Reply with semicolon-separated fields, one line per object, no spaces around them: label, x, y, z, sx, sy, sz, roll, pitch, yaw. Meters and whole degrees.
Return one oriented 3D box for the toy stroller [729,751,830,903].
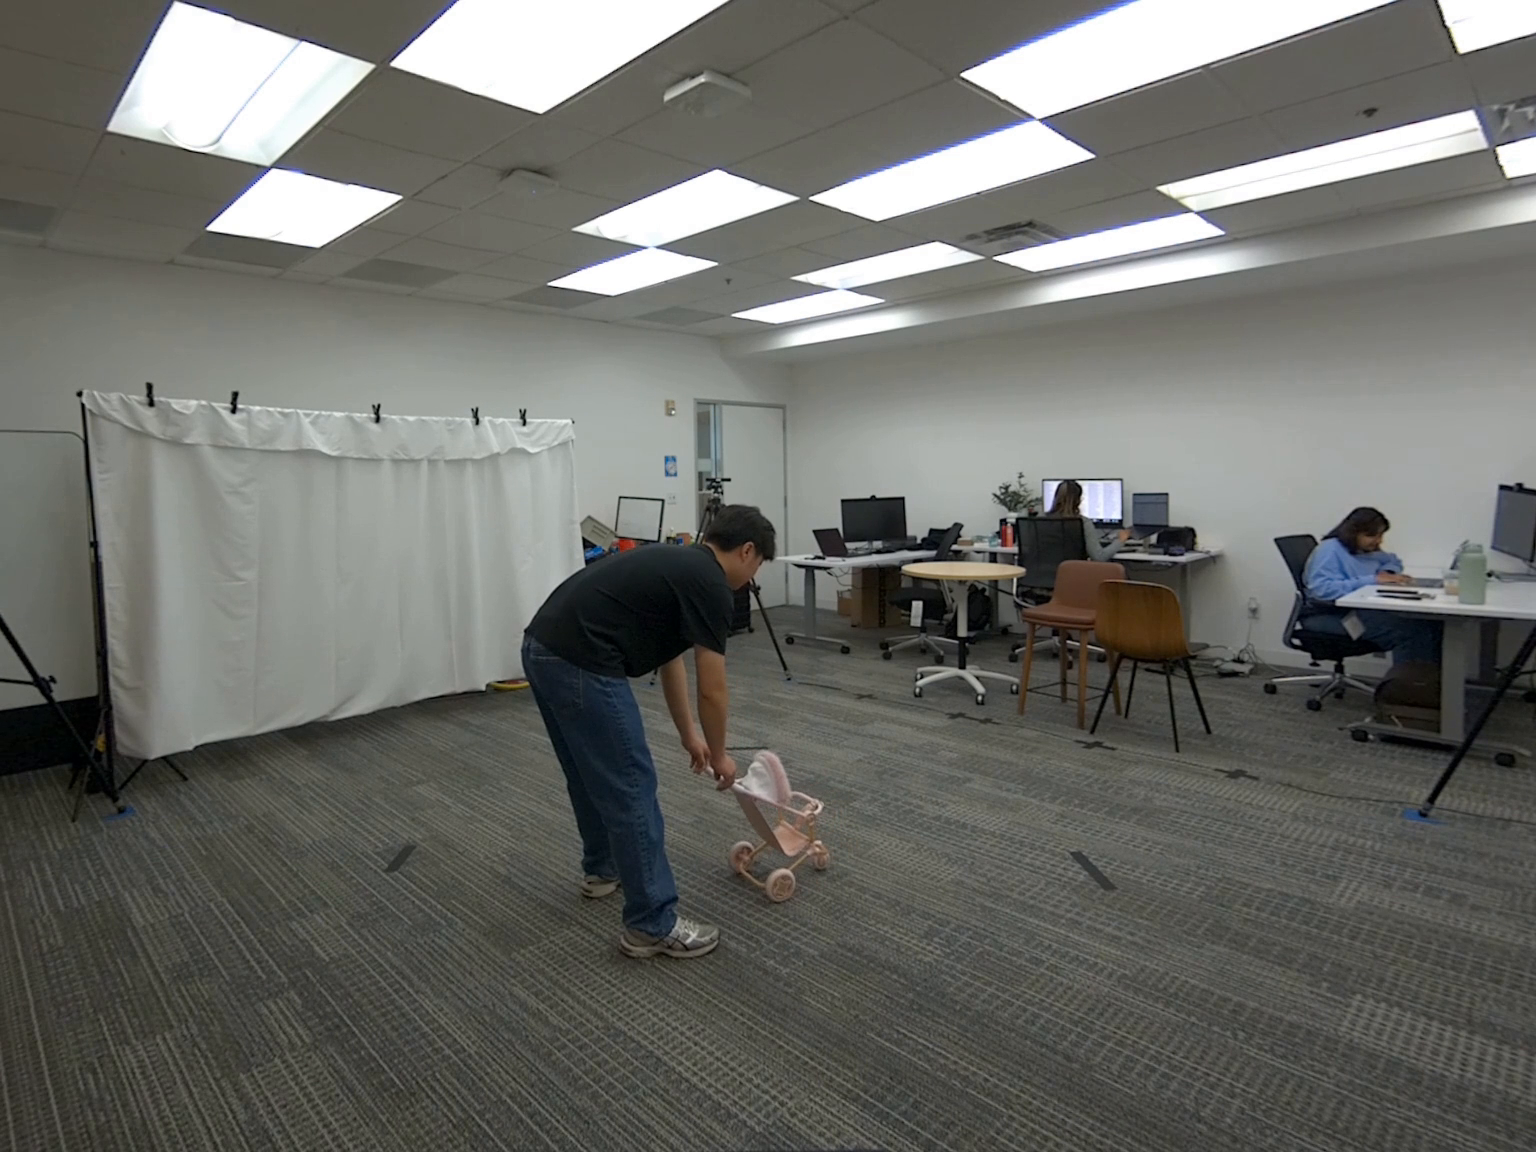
toy stroller;0.025;0.835;2.942;0.337;0.528;0.288;-21;12;-23
